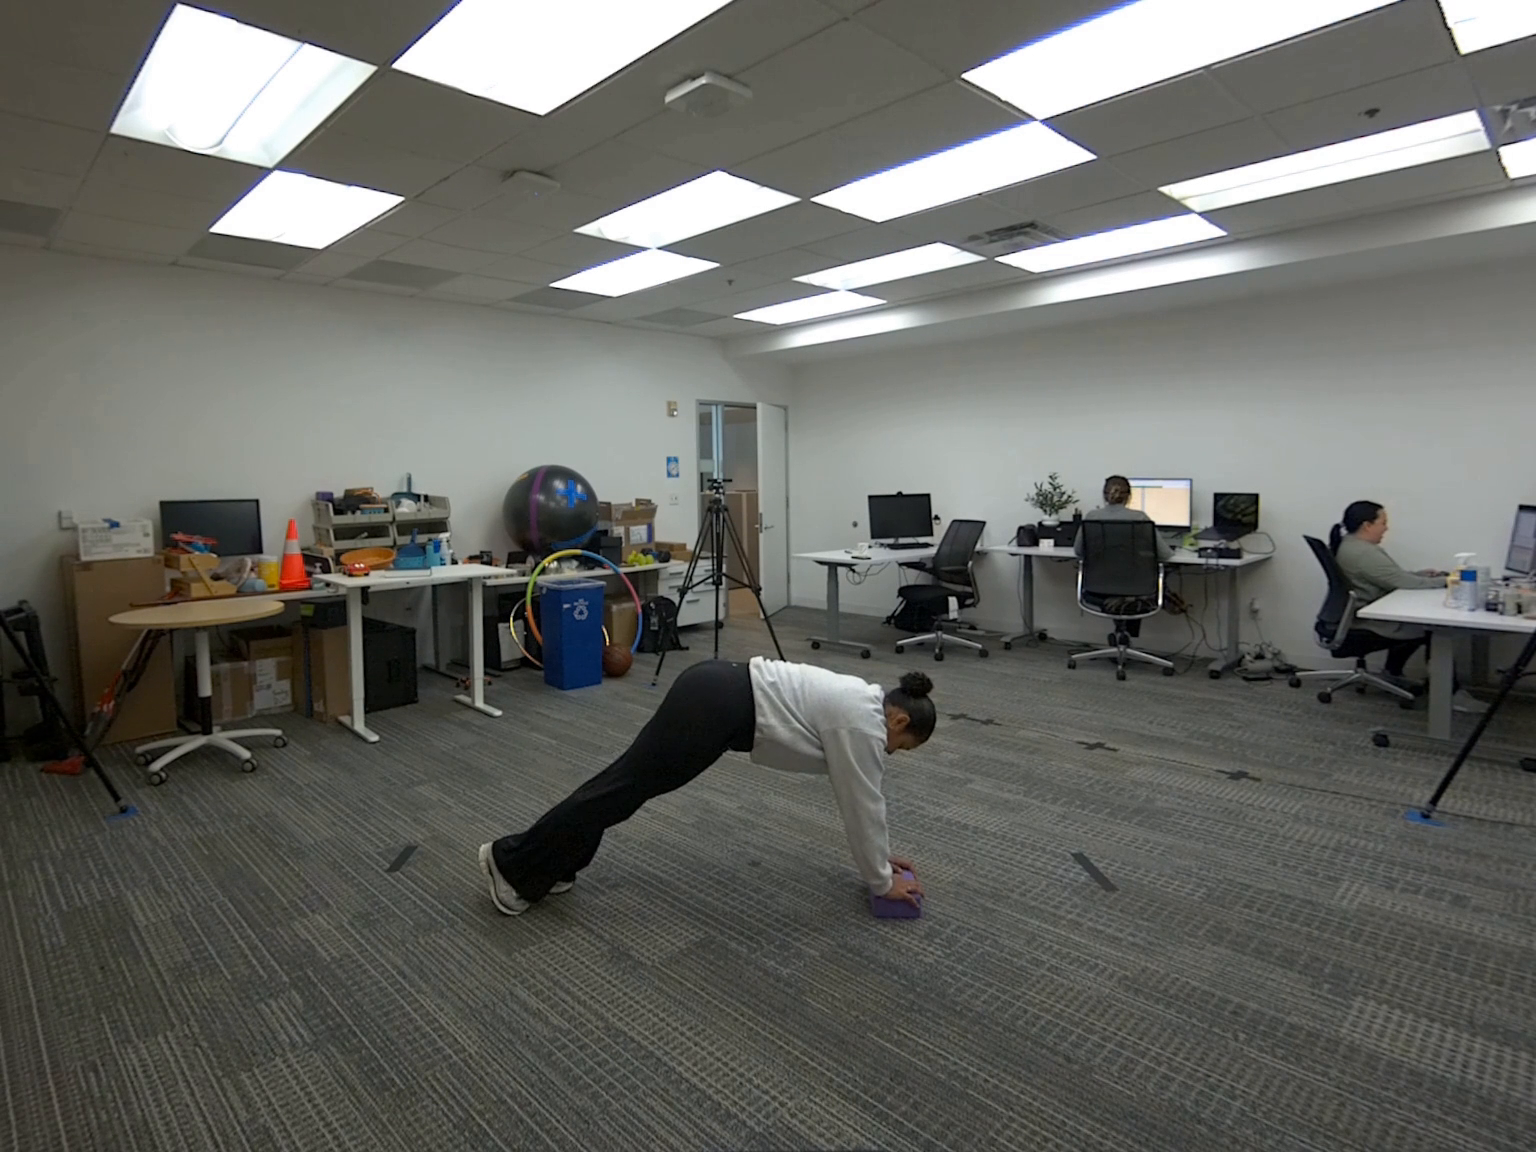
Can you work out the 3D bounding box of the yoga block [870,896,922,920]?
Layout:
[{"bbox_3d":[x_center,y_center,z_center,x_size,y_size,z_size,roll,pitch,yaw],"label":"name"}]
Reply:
[{"bbox_3d":[0.410,1.027,2.805,0.149,0.076,0.229,0,5,1],"label":"yoga block"}]
